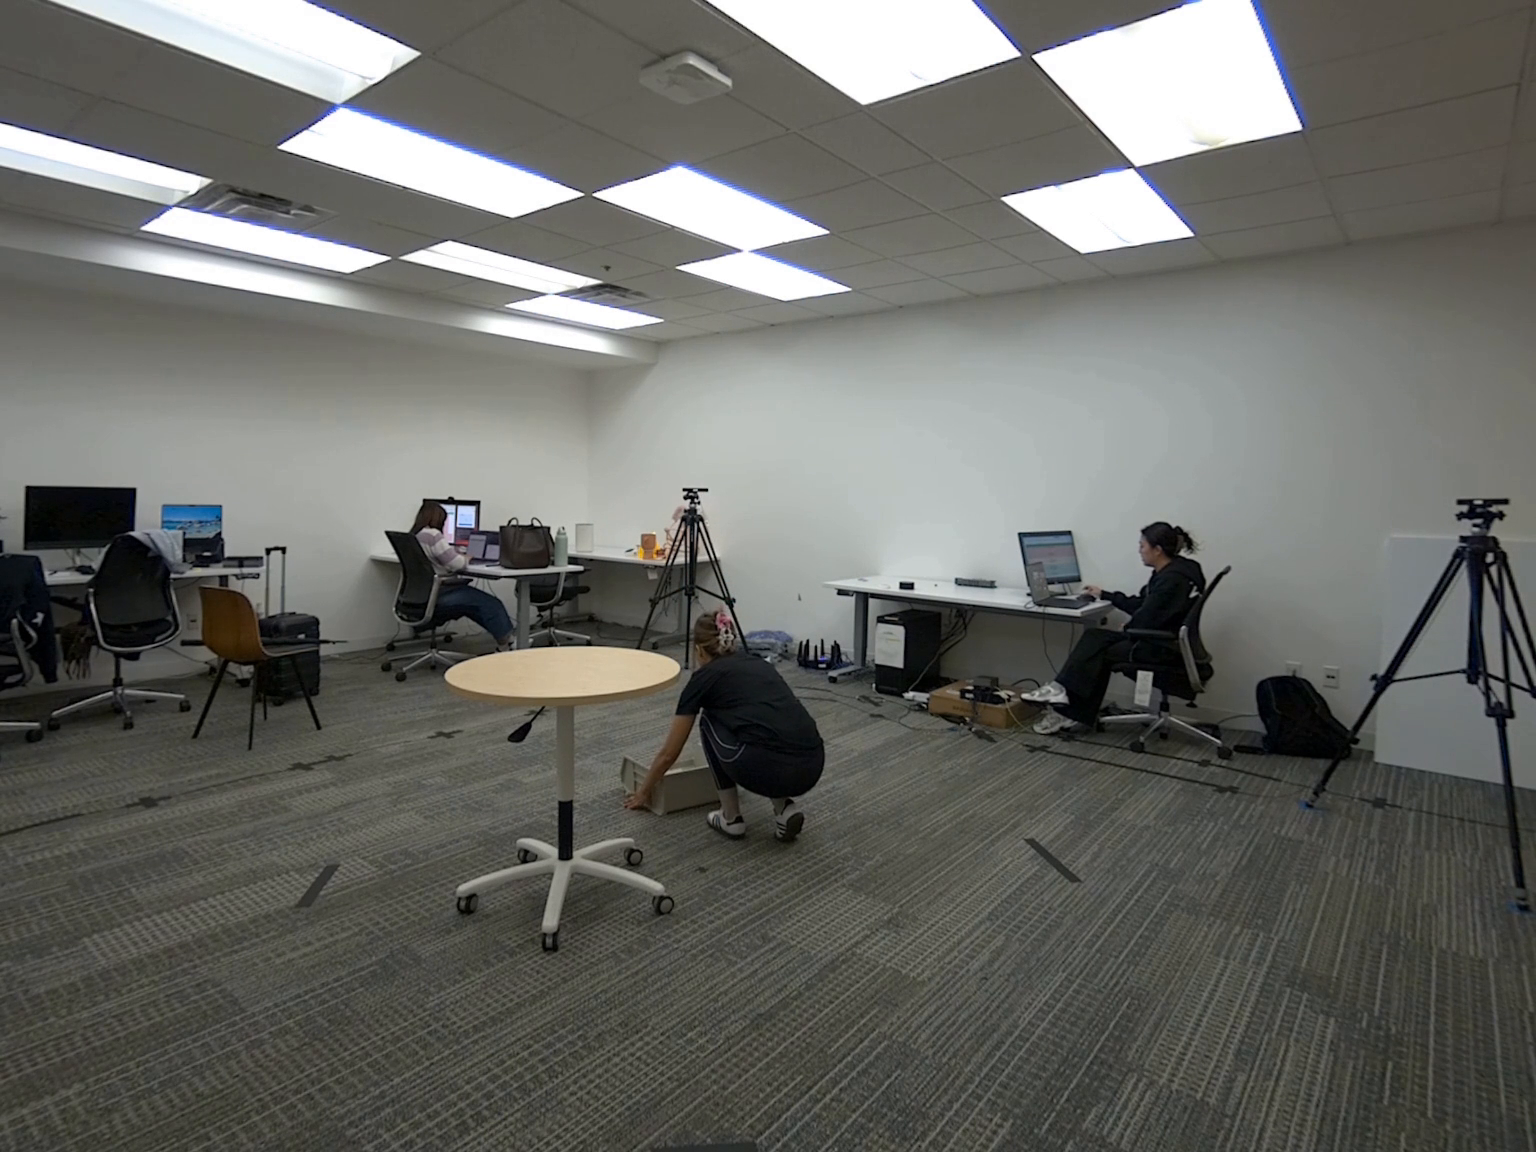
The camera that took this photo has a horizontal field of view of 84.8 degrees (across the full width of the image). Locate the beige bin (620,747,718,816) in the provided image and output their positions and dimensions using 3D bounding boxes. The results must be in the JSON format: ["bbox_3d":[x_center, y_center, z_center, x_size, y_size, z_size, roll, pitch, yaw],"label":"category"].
[{"bbox_3d":[-0.419,0.906,3.872,0.410,0.188,0.390,-2,6,-35],"label":"beige bin"}]
